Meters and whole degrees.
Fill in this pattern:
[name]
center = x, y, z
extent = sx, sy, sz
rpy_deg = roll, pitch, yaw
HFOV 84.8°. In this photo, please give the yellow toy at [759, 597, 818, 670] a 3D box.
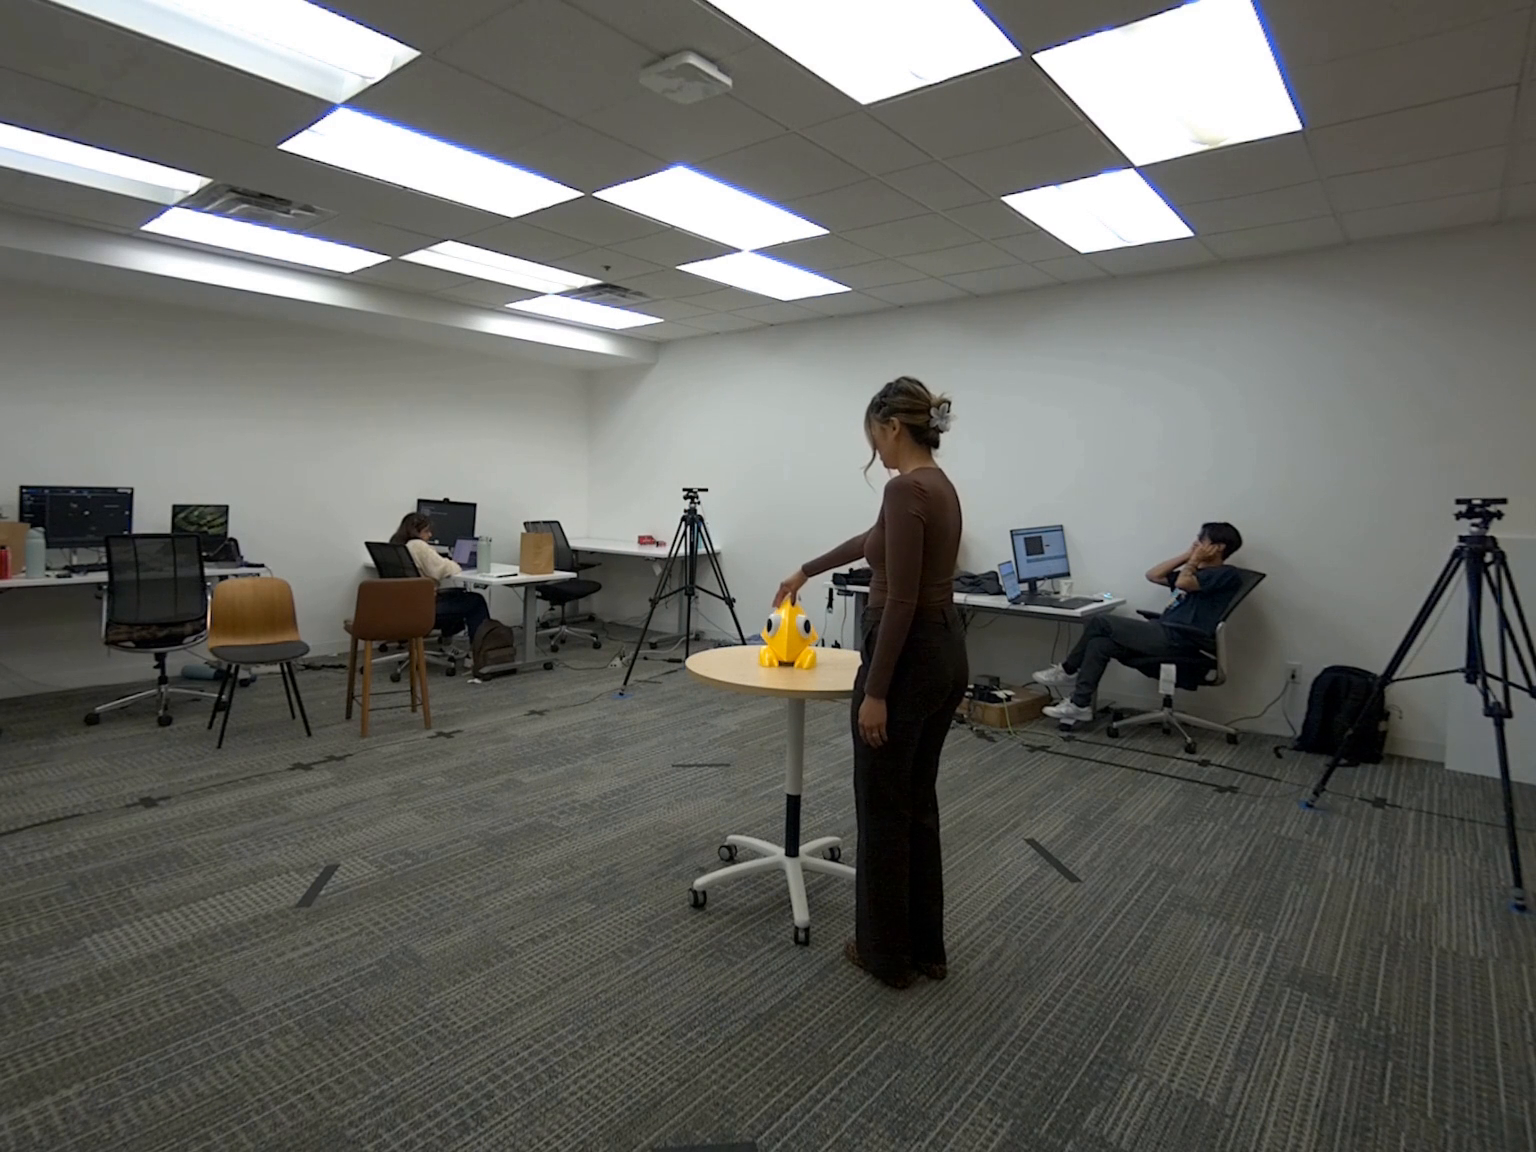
[yellow toy]
center = 0.065, 0.182, 2.913
extent = 0.206, 0.230, 0.192
rpy_deg = 2, 3, 6
